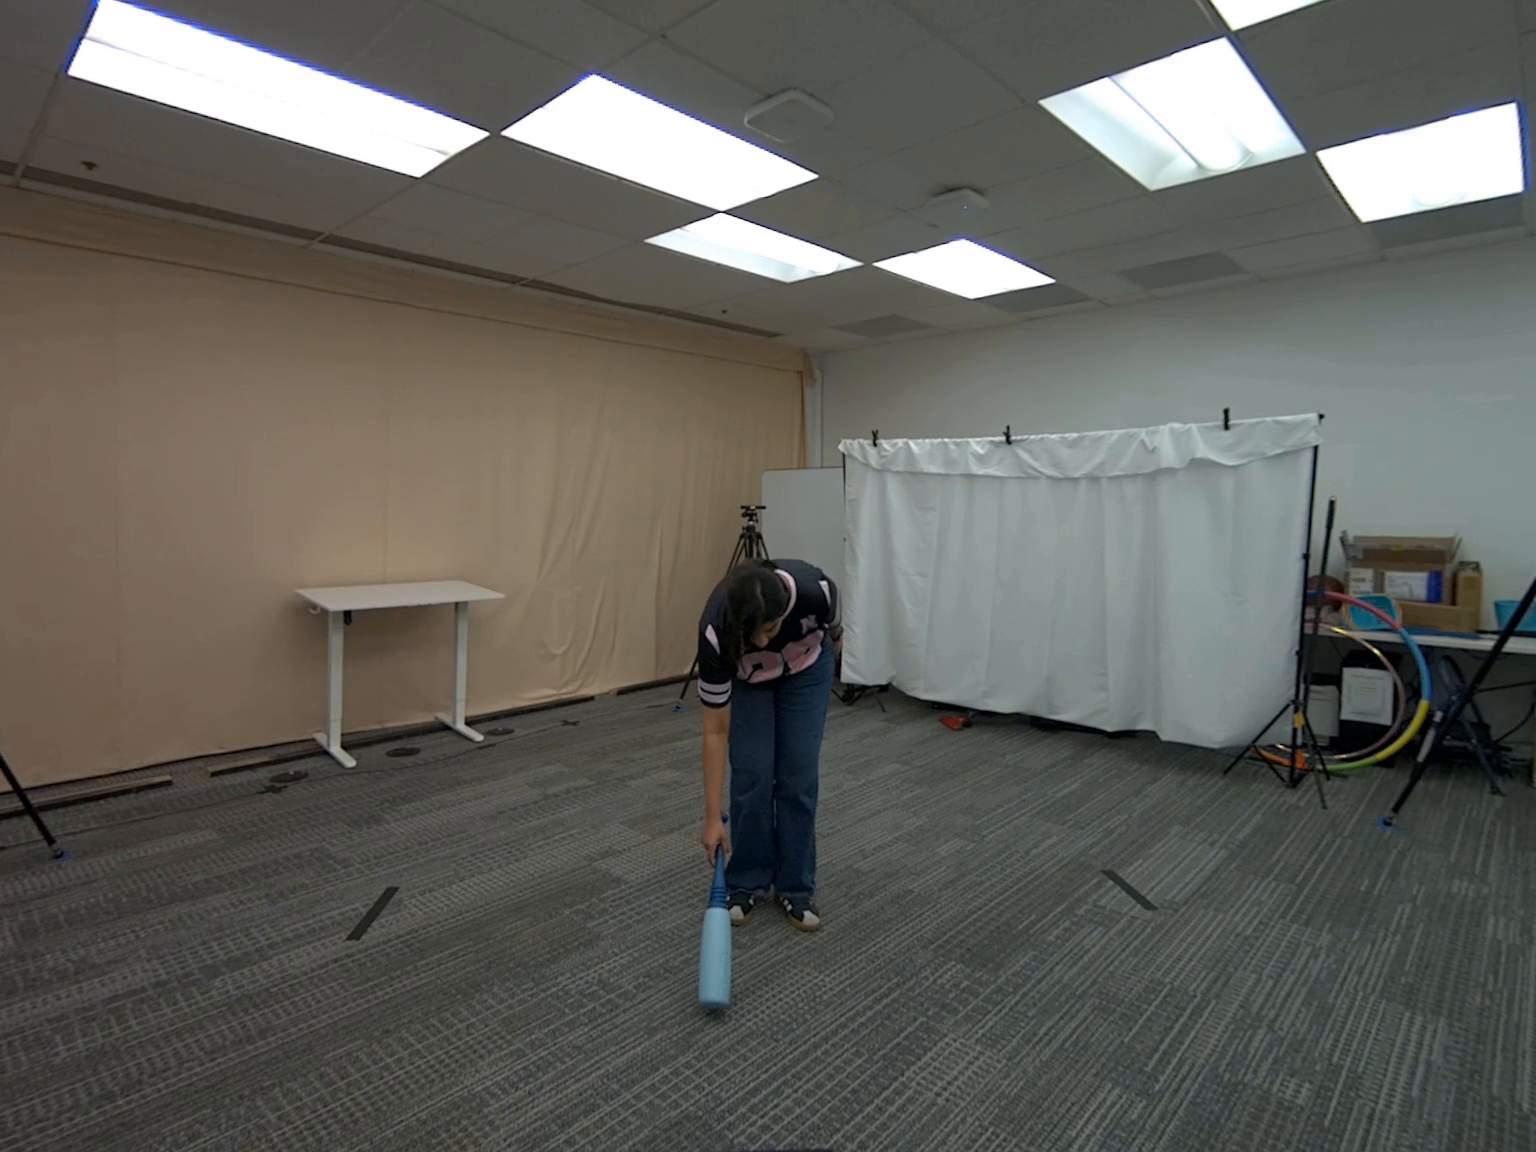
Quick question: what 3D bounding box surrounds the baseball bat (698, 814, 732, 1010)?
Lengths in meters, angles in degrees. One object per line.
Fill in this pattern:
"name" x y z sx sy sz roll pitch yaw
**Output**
"baseball bat" -0.149 0.955 2.467 0.089 0.553 0.087 1 -42 -1
